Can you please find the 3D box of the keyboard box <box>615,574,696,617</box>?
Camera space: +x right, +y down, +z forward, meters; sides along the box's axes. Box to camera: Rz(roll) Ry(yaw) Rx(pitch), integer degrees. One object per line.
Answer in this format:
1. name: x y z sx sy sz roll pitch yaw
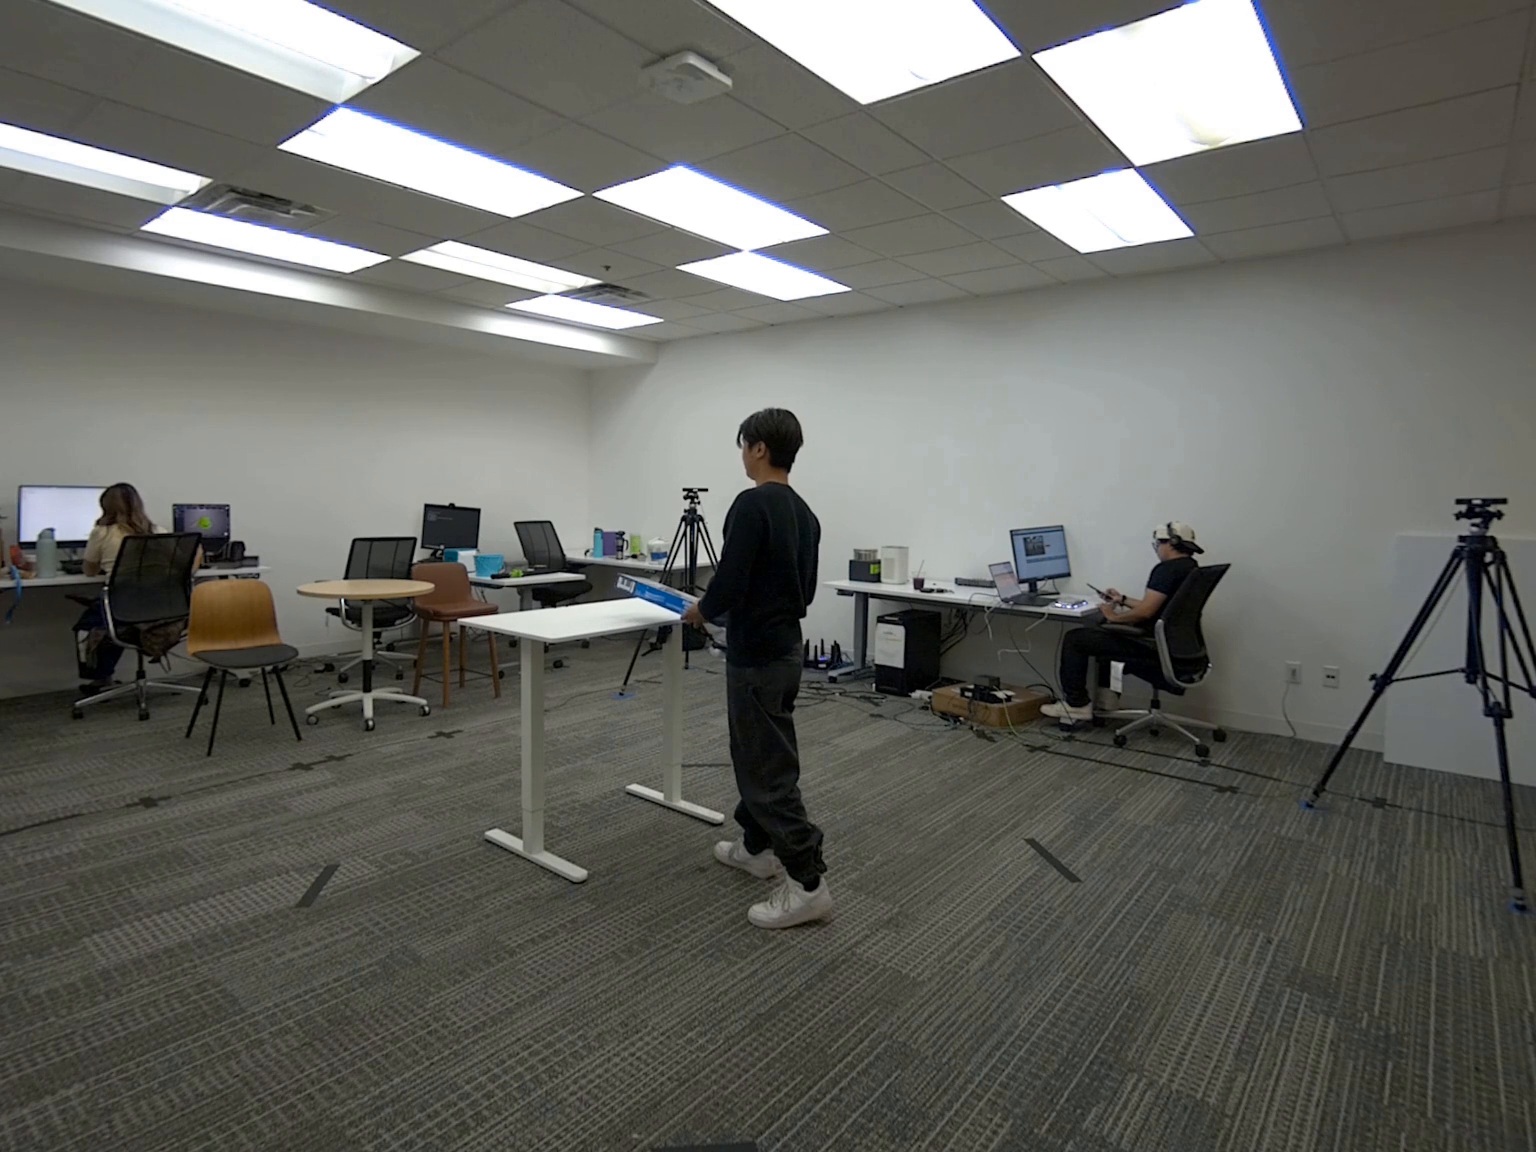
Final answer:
1. keyboard box: -0.376 0.081 3.179 0.454 0.059 0.169 19 4 38
